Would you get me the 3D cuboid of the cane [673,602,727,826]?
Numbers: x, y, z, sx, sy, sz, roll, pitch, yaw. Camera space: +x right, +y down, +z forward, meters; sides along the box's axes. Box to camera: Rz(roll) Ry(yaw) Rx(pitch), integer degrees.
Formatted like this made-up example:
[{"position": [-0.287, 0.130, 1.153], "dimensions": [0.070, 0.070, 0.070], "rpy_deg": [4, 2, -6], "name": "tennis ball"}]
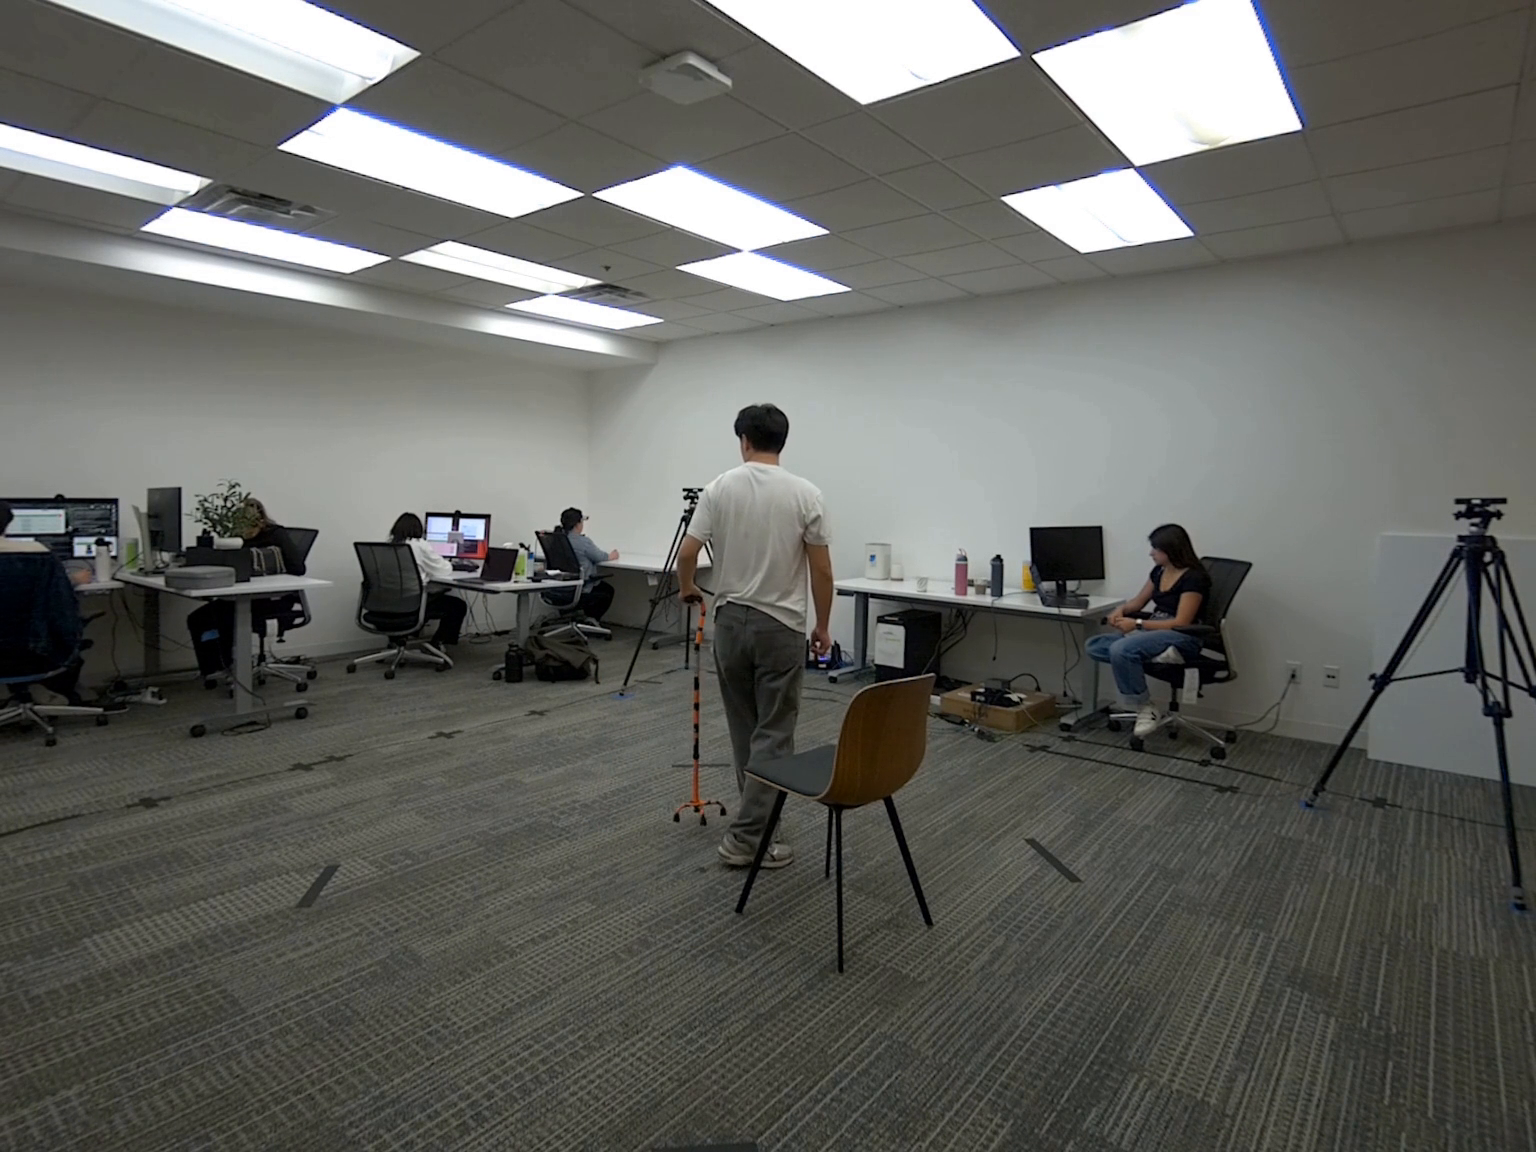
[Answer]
[{"position": [-0.288, 0.535, 3.520], "dimensions": [0.155, 0.911, 0.201], "rpy_deg": [-3, -3, 27], "name": "cane"}]
